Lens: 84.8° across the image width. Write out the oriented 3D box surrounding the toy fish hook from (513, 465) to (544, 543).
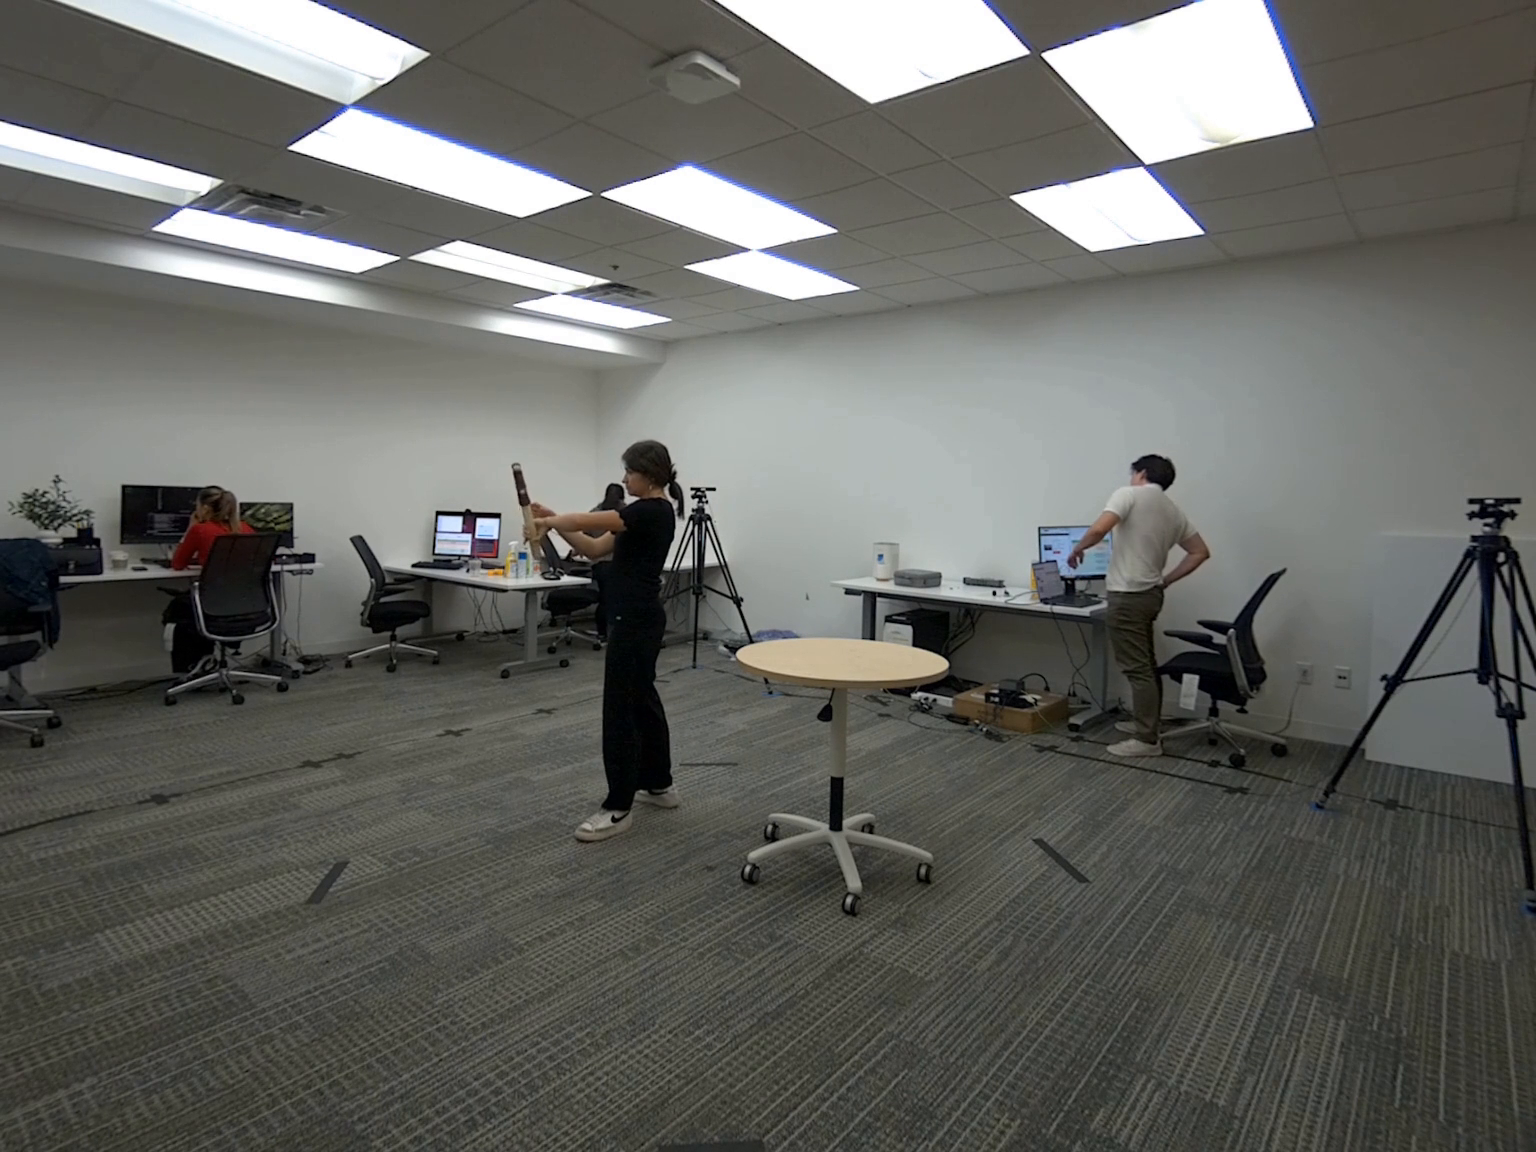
[{"bbox_3d":[-1.014,-0.283,3.484,0.048,0.492,0.234,-17,42,-19],"label":"toy fish hook"}]
